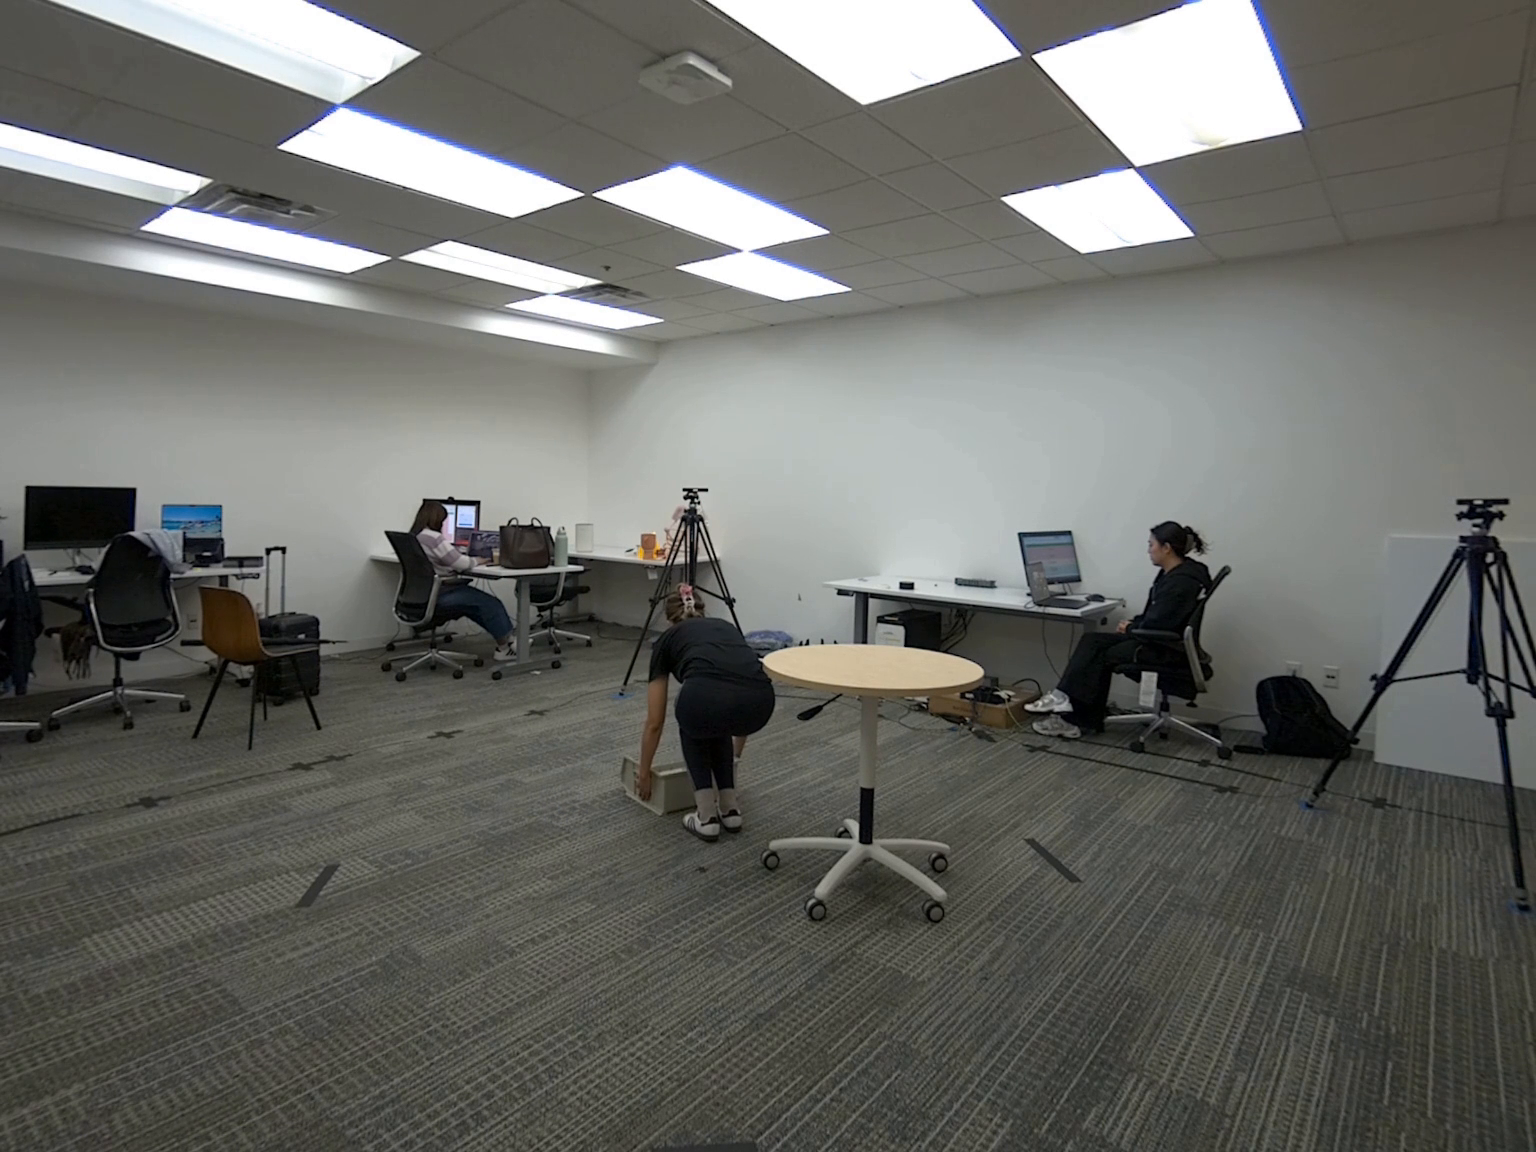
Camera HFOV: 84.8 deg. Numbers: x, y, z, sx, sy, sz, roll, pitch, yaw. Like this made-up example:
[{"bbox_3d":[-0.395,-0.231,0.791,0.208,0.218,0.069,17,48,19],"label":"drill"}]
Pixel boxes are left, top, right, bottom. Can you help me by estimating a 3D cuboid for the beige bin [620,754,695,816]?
[{"bbox_3d":[-0.416,0.902,3.868,0.410,0.188,0.390,-3,7,-36],"label":"beige bin"}]
